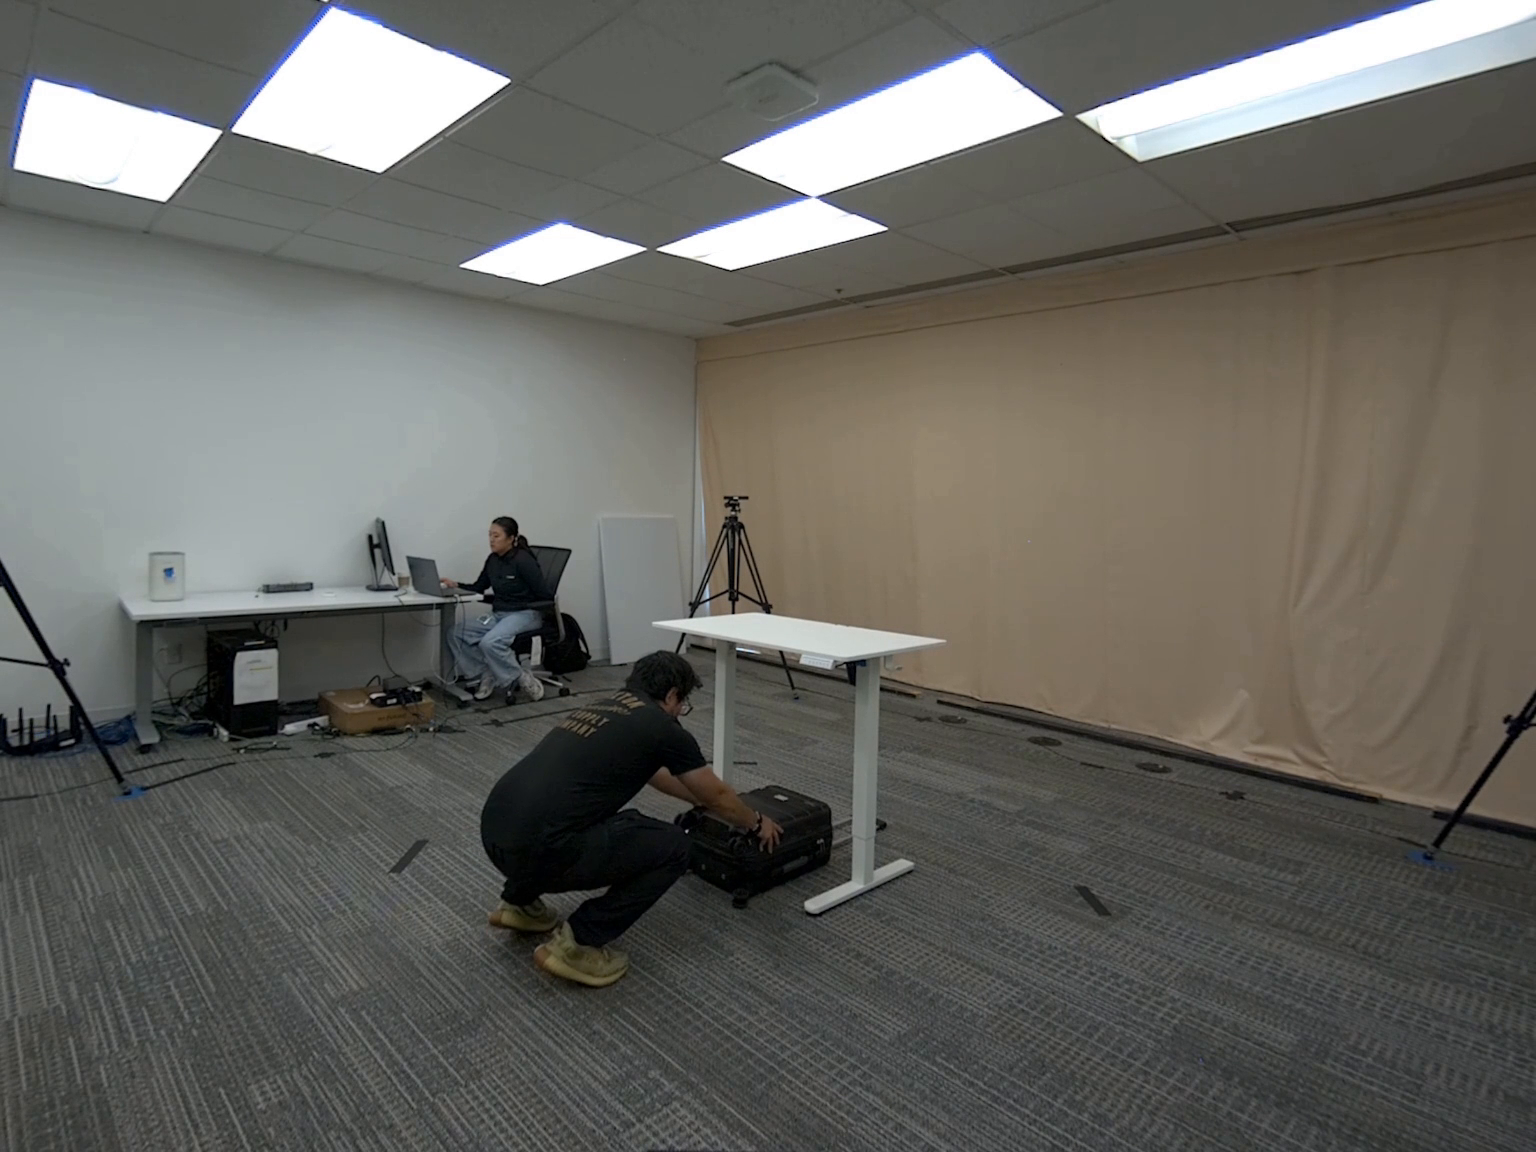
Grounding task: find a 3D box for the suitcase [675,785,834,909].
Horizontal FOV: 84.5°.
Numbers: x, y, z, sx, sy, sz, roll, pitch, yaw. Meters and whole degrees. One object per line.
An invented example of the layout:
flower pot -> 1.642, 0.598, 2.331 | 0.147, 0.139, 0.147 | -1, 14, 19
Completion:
suitcase -> 0.103, 0.971, 3.301 | 0.394, 0.256, 0.957 | 4, 6, 44
